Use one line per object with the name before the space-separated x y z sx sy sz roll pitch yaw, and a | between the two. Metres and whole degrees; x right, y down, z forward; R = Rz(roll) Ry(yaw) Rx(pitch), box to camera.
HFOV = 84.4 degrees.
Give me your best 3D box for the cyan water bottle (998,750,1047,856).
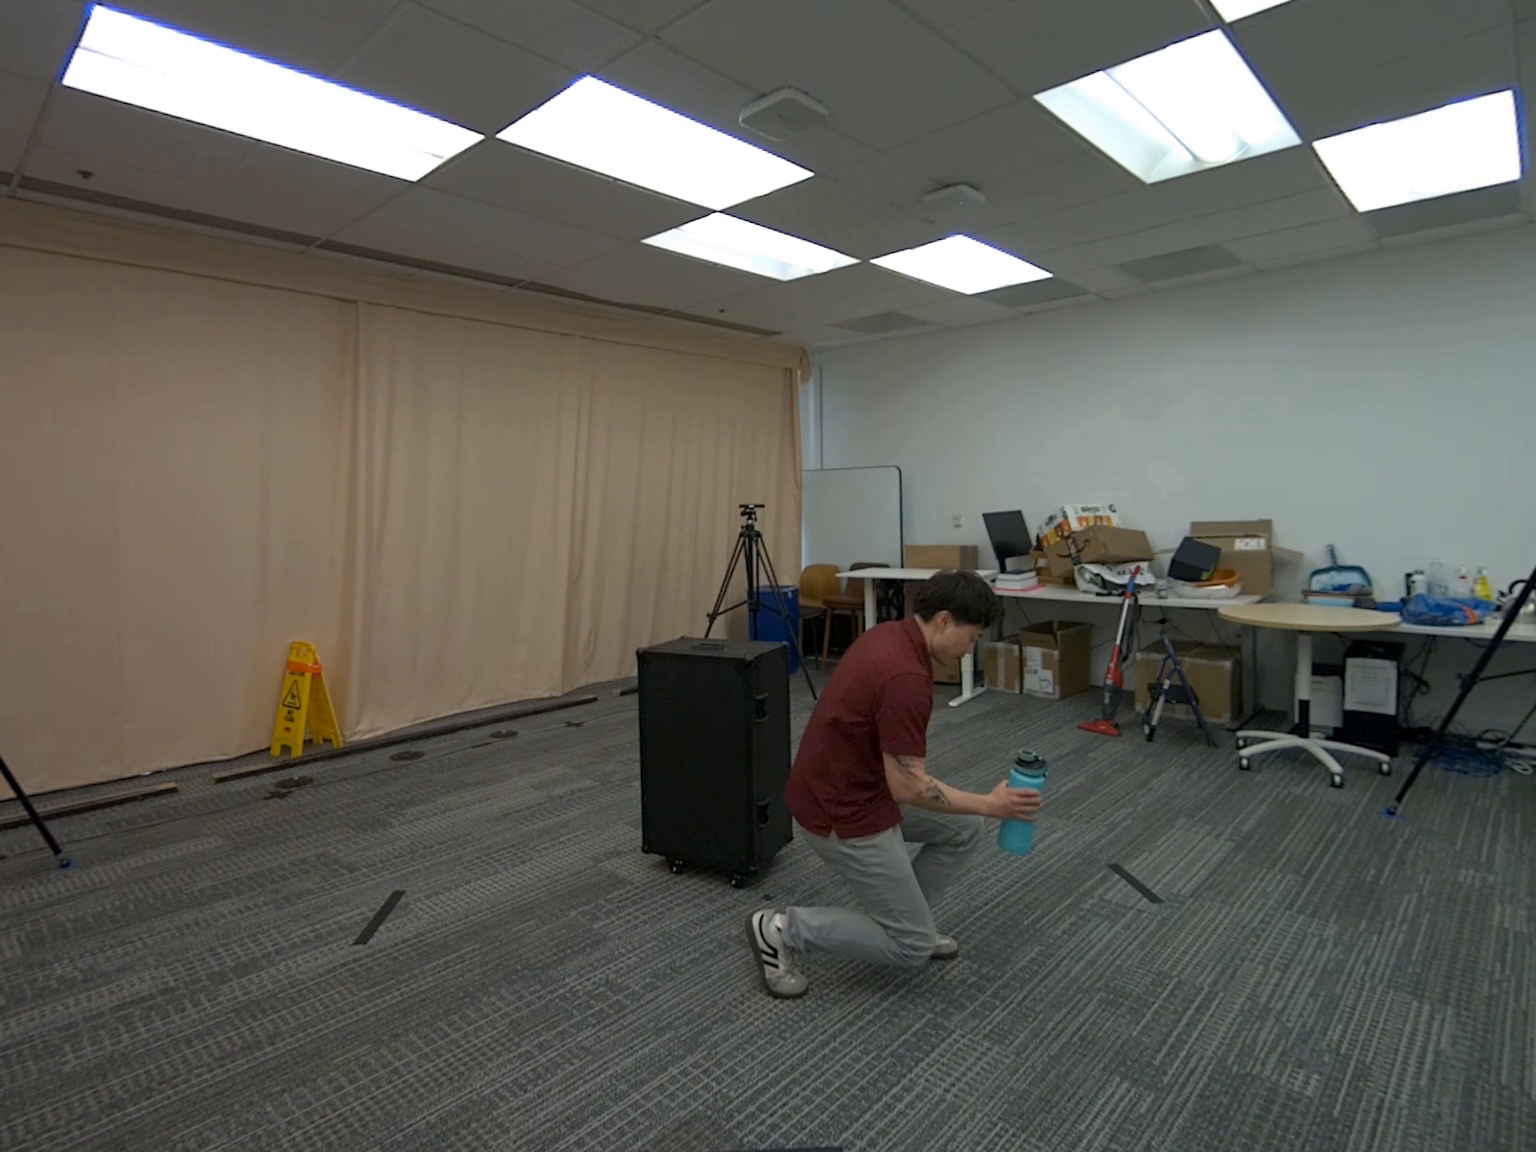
cyan water bottle | 0.708 0.614 2.287 0.092 0.282 0.093 9 8 -3
